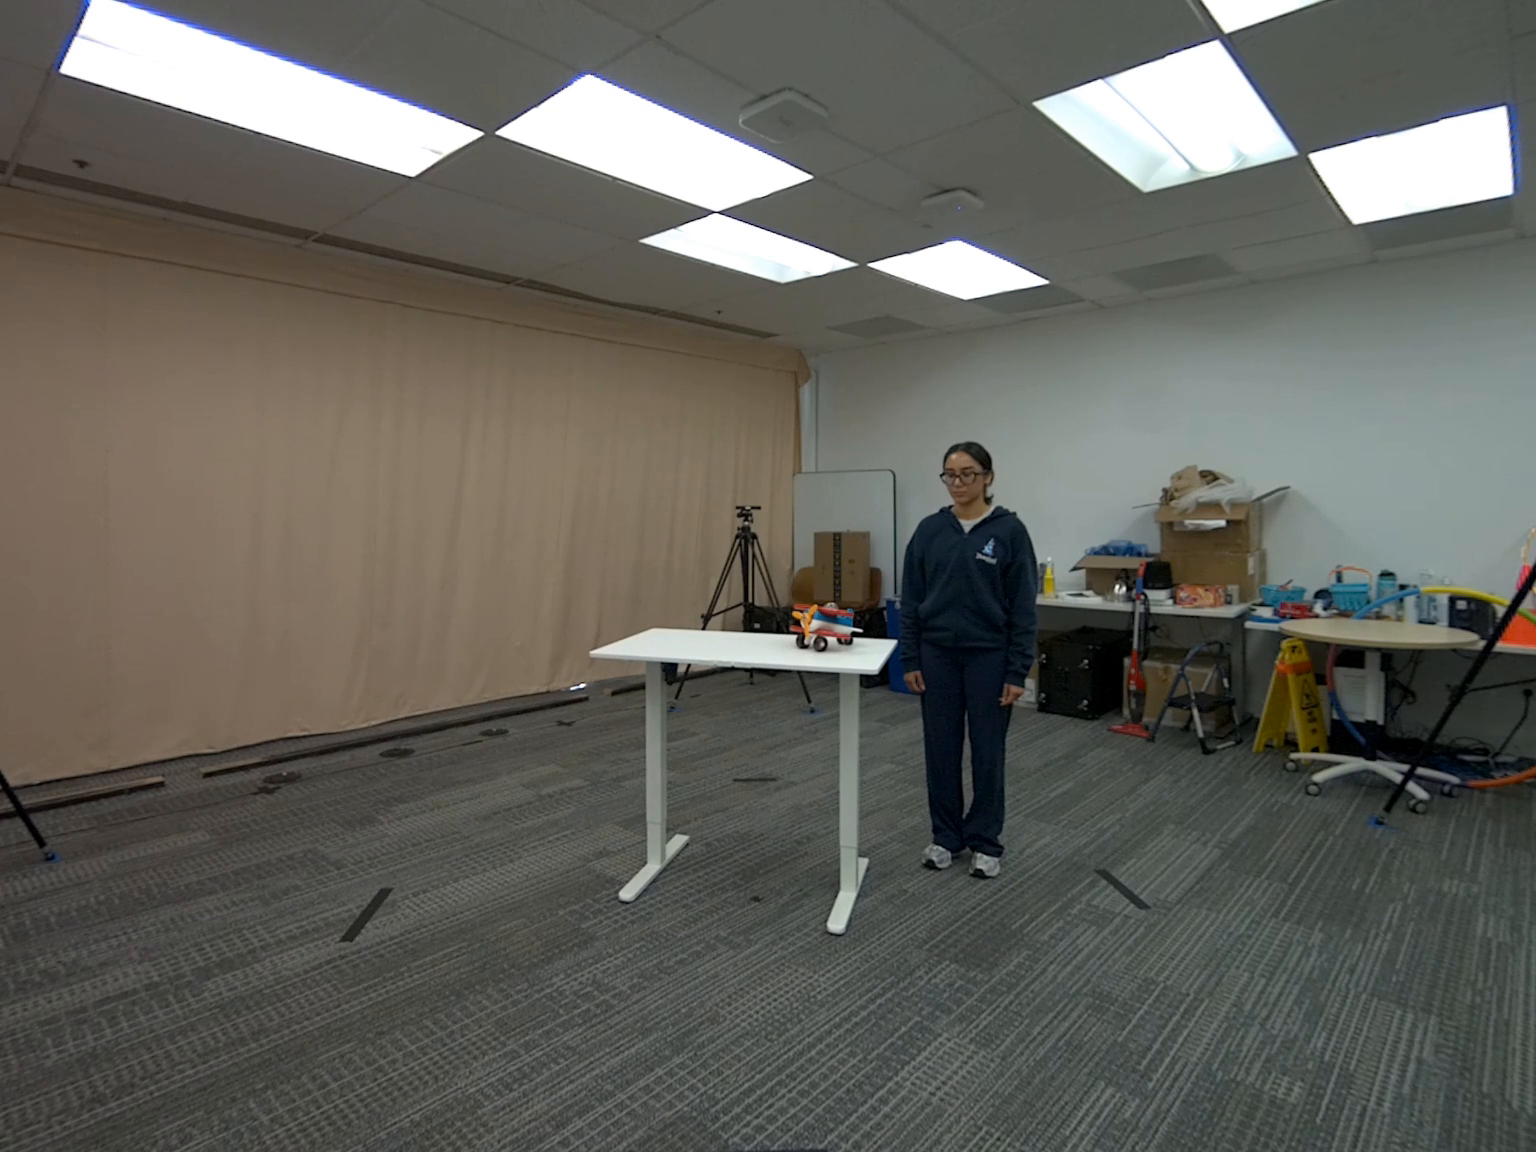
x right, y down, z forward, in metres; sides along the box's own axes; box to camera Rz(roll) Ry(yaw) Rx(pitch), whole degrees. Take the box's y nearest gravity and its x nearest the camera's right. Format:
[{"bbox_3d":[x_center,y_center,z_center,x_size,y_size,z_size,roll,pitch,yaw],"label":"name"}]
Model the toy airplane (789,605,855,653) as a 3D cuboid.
[{"bbox_3d":[0.210,0.178,3.042,0.256,0.156,0.254,0,5,20],"label":"toy airplane"}]
